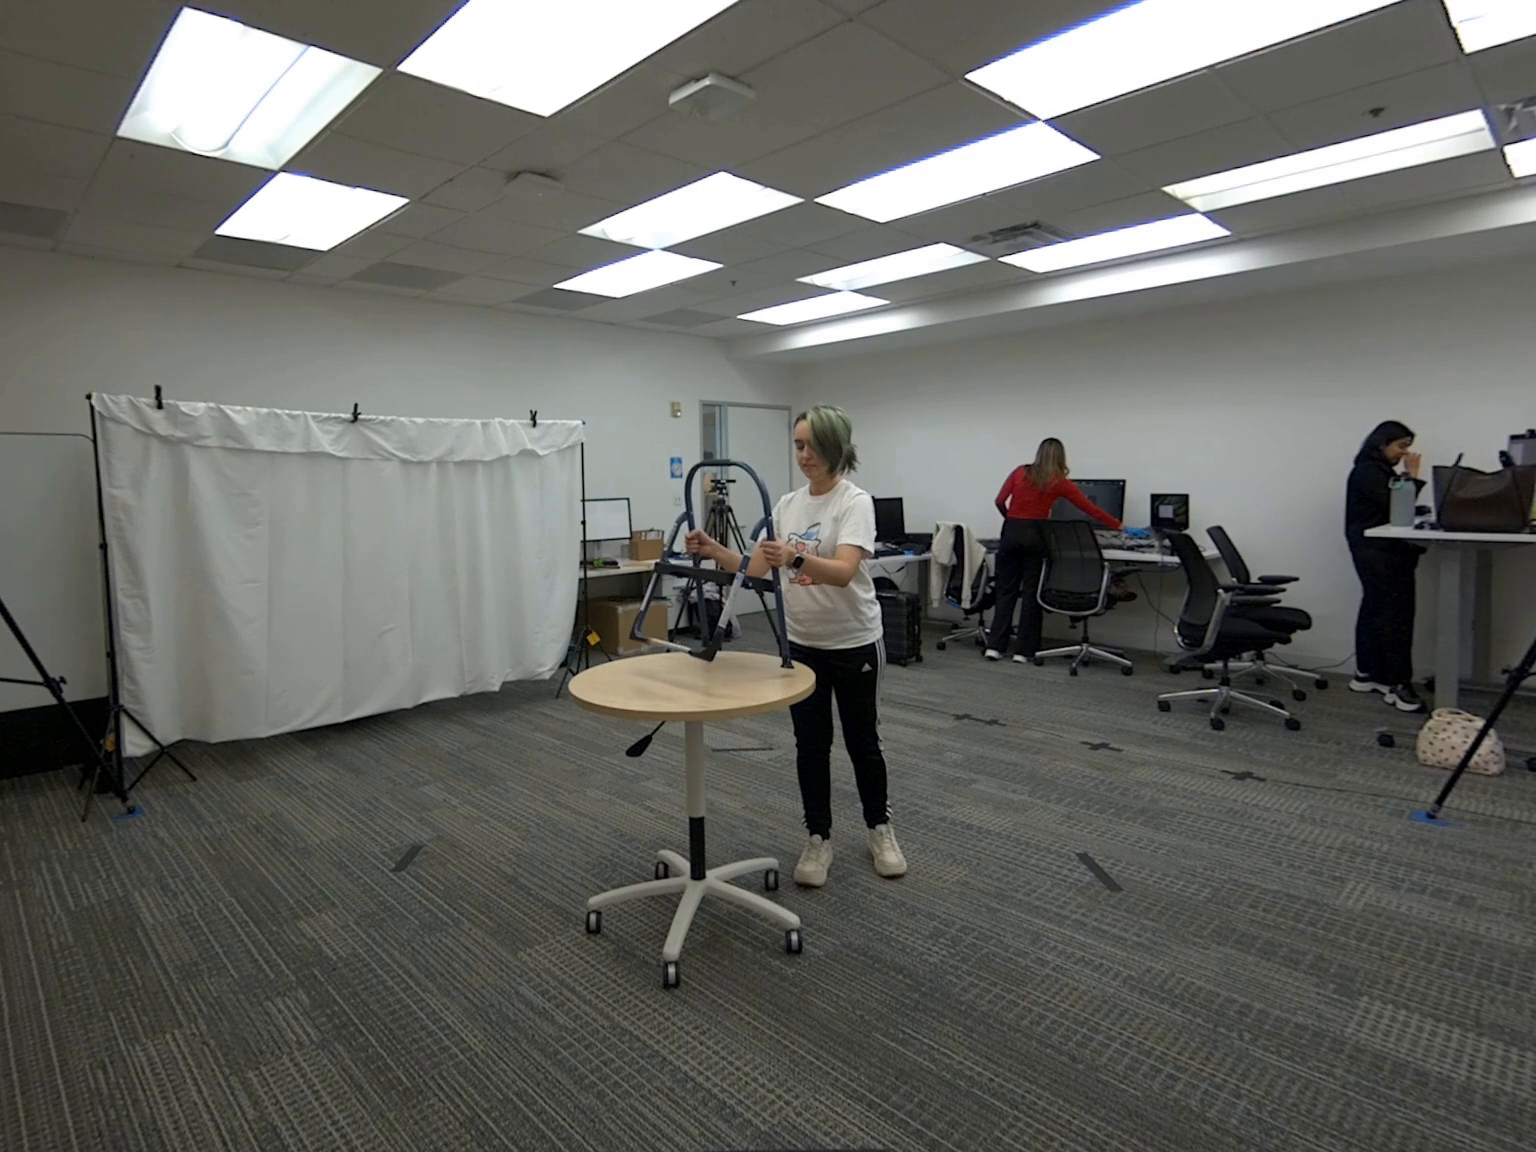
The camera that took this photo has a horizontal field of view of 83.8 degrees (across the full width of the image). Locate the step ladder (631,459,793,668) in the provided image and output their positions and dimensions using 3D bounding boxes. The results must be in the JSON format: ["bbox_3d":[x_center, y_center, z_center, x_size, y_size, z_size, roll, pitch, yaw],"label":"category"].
[{"bbox_3d":[-0.140,-0.058,2.700,0.338,0.608,0.444,11,-4,-43],"label":"step ladder"}]
